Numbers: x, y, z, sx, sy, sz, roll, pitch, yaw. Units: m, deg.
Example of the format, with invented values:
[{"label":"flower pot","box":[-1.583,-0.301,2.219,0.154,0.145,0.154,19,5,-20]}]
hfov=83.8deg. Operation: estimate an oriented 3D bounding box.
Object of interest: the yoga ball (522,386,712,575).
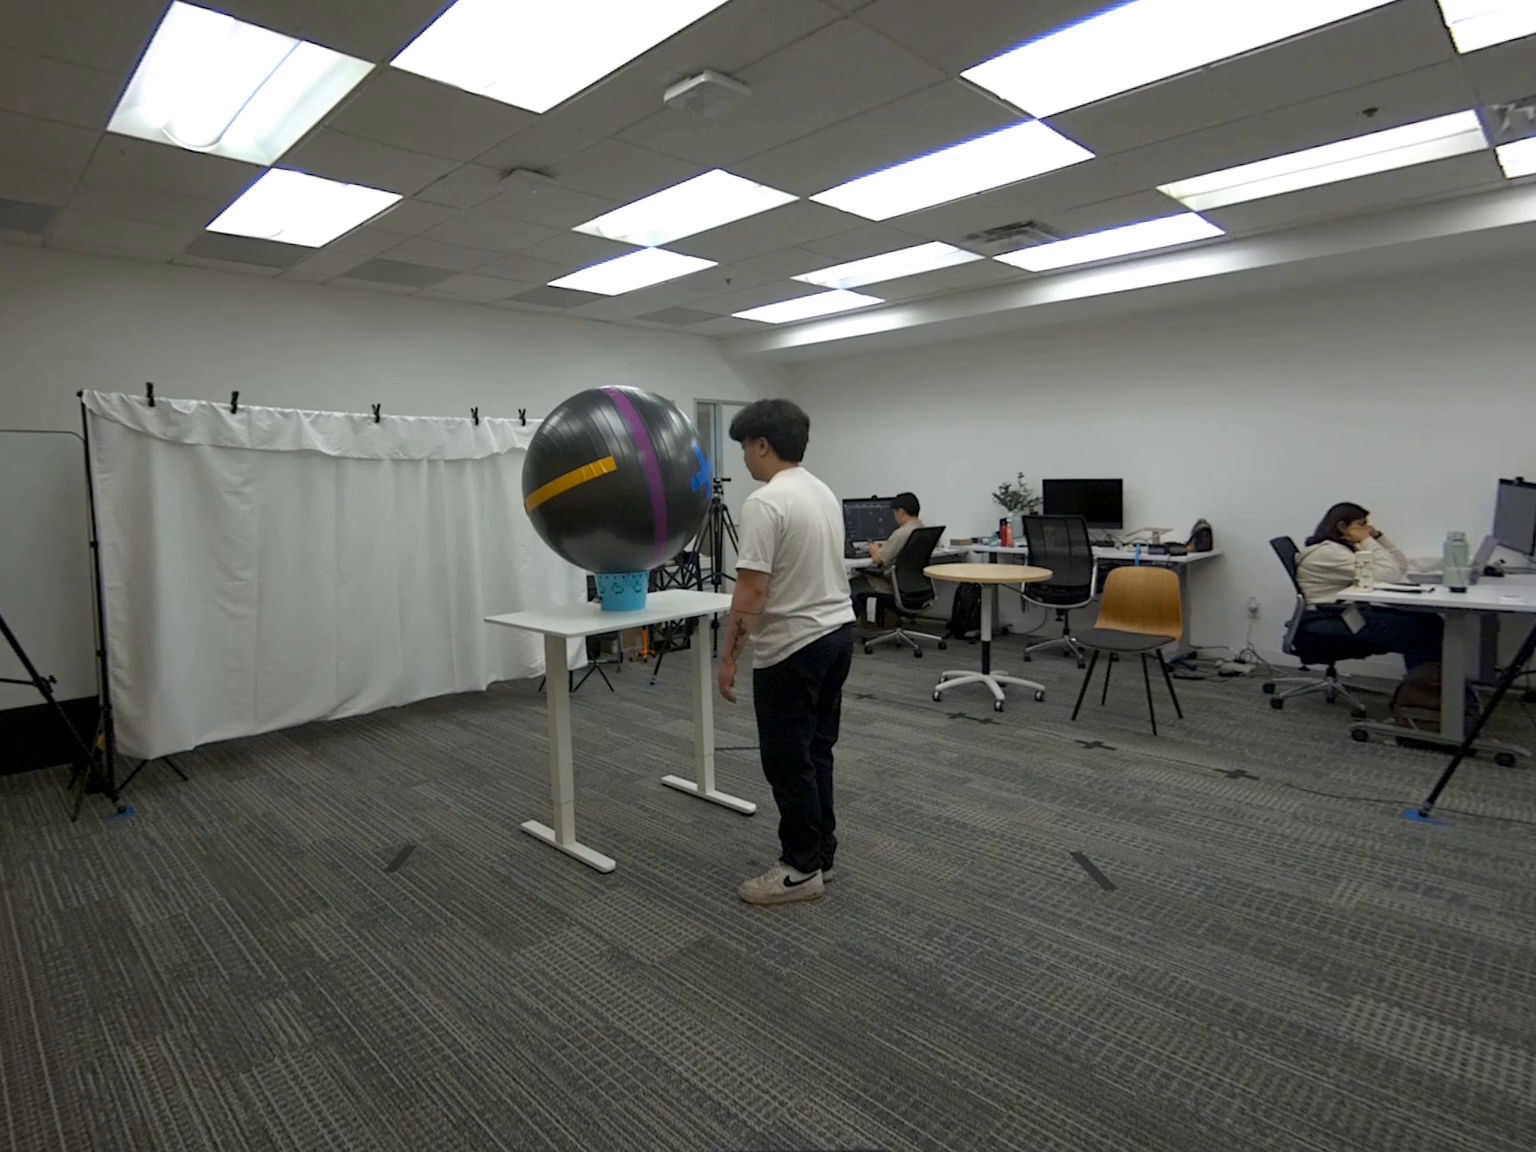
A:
[{"label":"yoga ball","box":[-0.602,-0.369,3.428,0.757,0.755,0.762,-1,5,-2]}]
